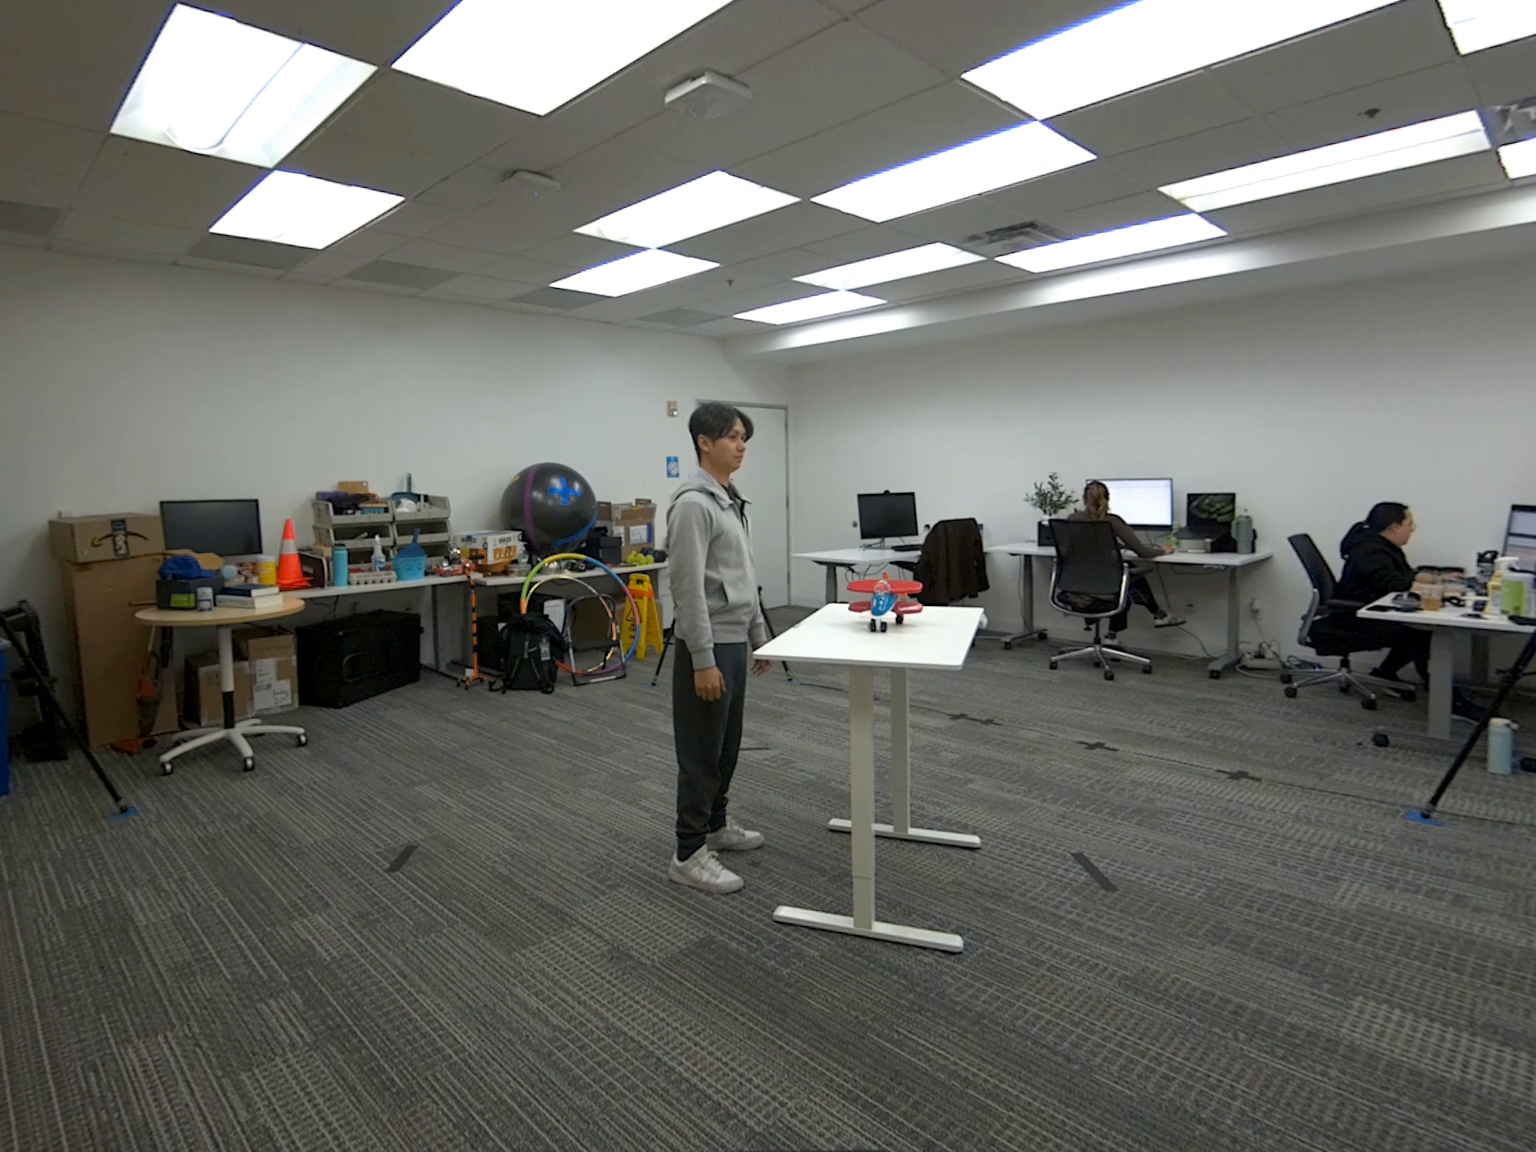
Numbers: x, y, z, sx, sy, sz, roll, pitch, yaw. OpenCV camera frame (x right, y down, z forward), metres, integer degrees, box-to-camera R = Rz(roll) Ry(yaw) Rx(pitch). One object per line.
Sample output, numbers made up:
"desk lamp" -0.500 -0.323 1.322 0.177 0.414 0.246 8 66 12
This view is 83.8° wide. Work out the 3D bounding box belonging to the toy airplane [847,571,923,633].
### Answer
"toy airplane" 0.416 0.101 2.910 0.249 0.156 0.263 -2 6 -10
